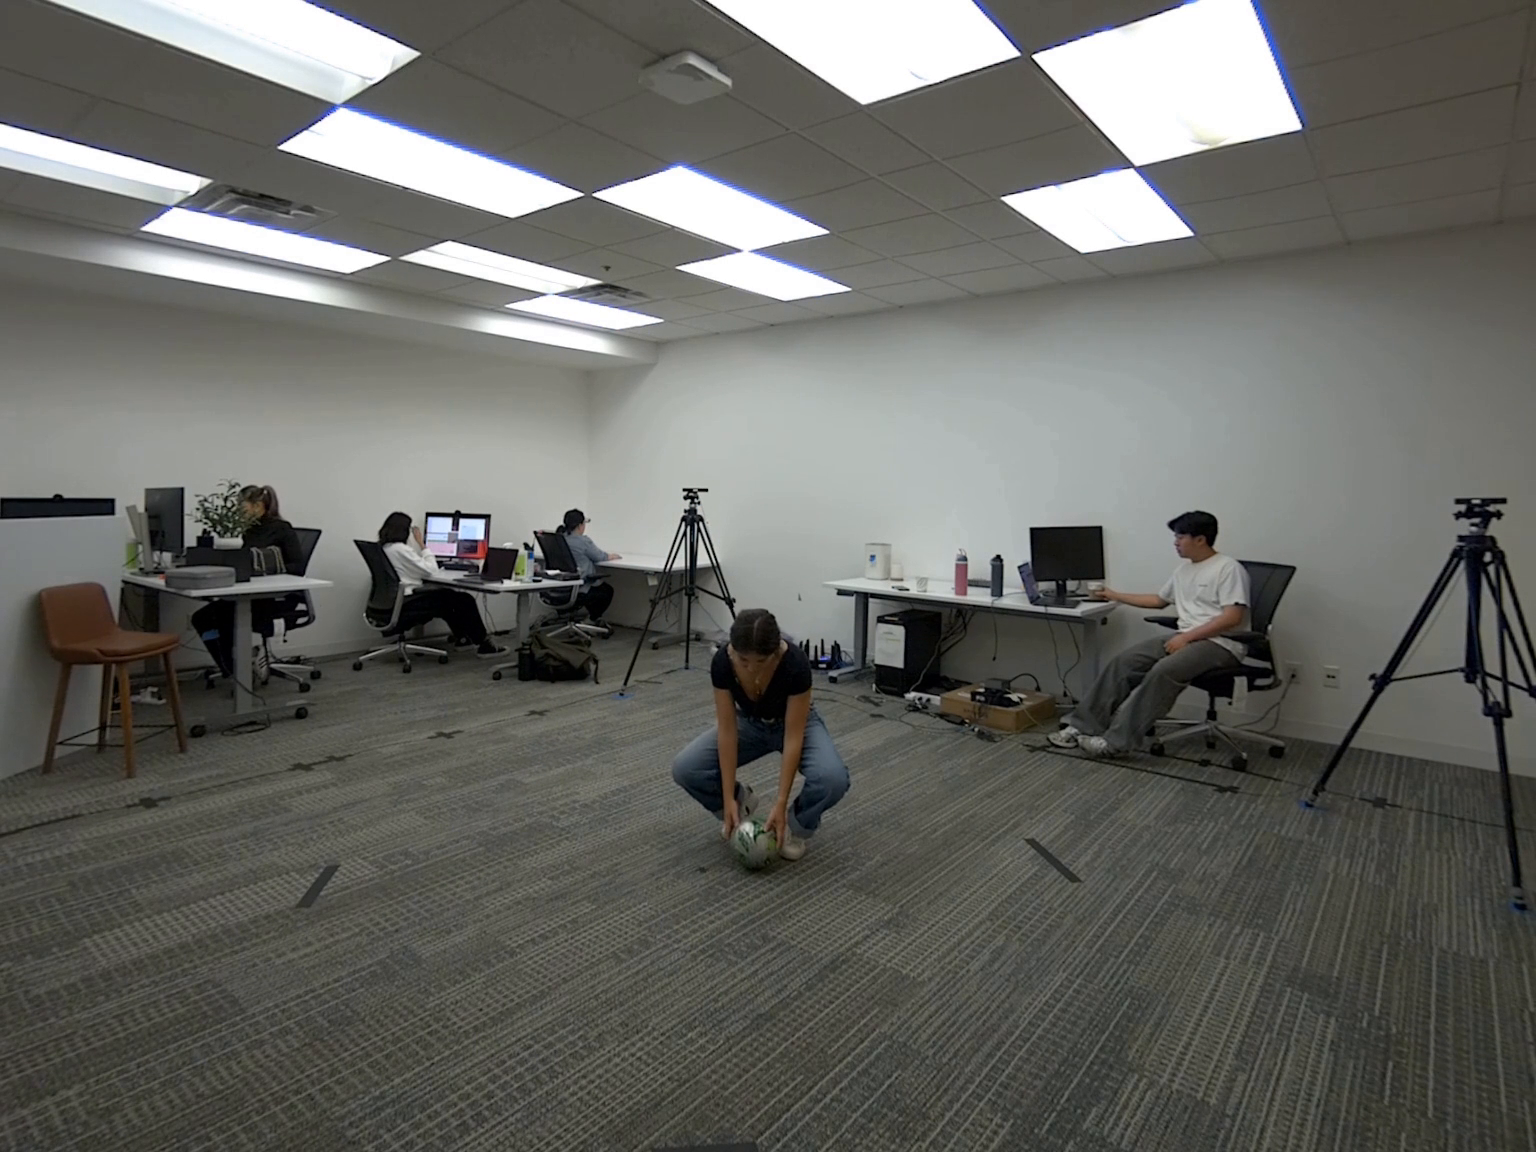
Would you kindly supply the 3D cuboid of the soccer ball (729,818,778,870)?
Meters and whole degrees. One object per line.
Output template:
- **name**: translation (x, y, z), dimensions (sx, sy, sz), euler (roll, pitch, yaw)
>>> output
- **soccer ball**: translation (-0.052, 0.961, 3.134), dimensions (0.187, 0.187, 0.188), euler (1, 4, -2)
